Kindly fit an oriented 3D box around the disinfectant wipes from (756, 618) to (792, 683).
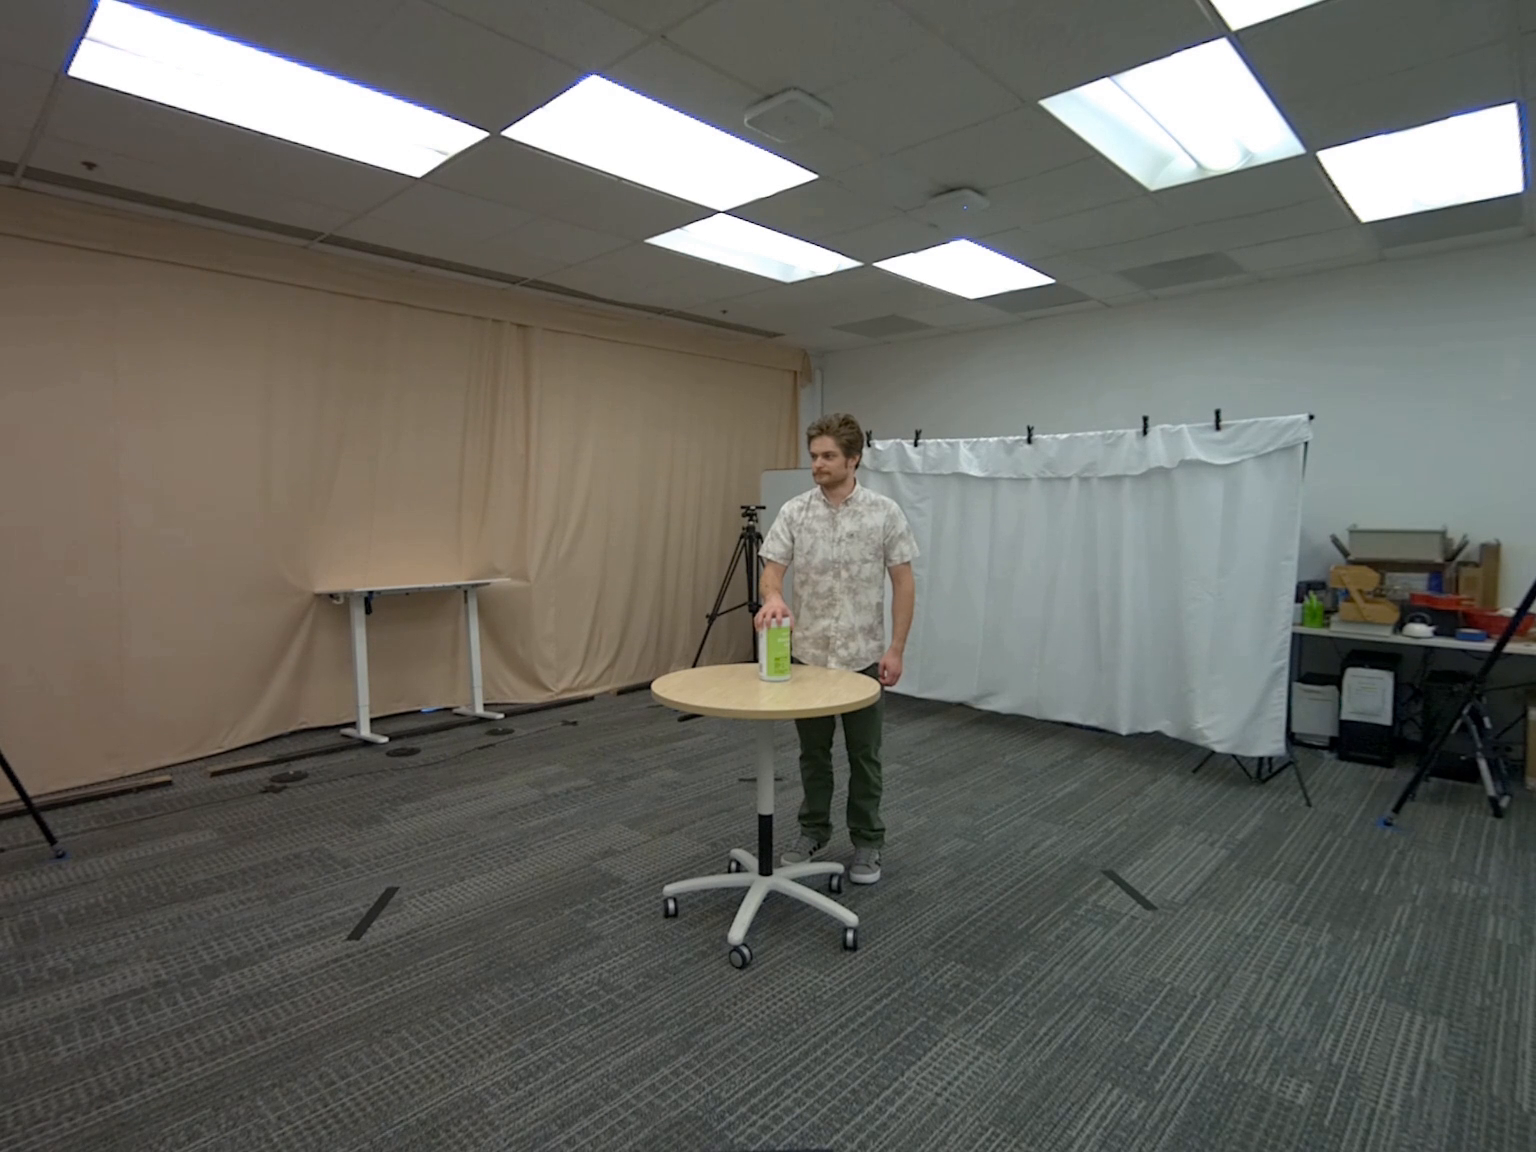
[{"bbox_3d":[0.022,0.252,2.913,0.118,0.217,0.118,1,3,-2],"label":"disinfectant wipes"}]
